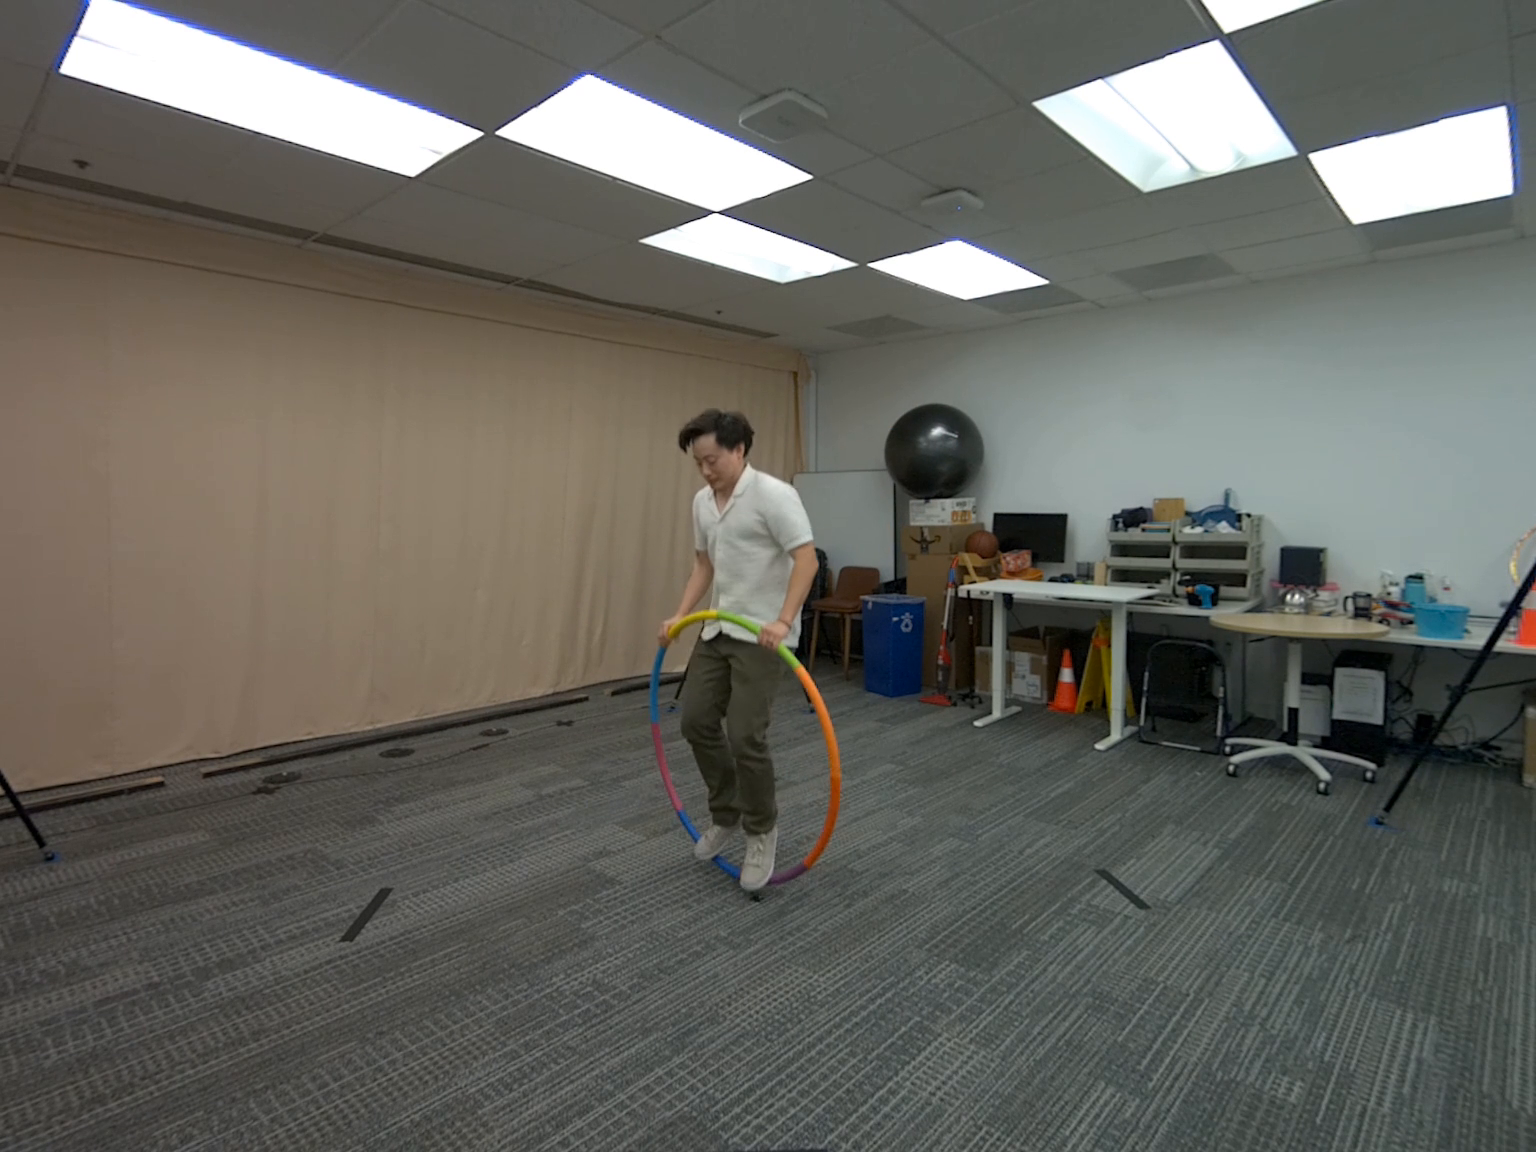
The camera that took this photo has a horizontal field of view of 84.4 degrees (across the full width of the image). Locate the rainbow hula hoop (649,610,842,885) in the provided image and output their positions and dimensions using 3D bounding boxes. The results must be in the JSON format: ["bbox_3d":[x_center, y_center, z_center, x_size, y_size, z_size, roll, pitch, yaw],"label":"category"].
[{"bbox_3d":[-0.148,0.608,3.034,1.011,0.973,0.034,4,11,43],"label":"rainbow hula hoop"}]
